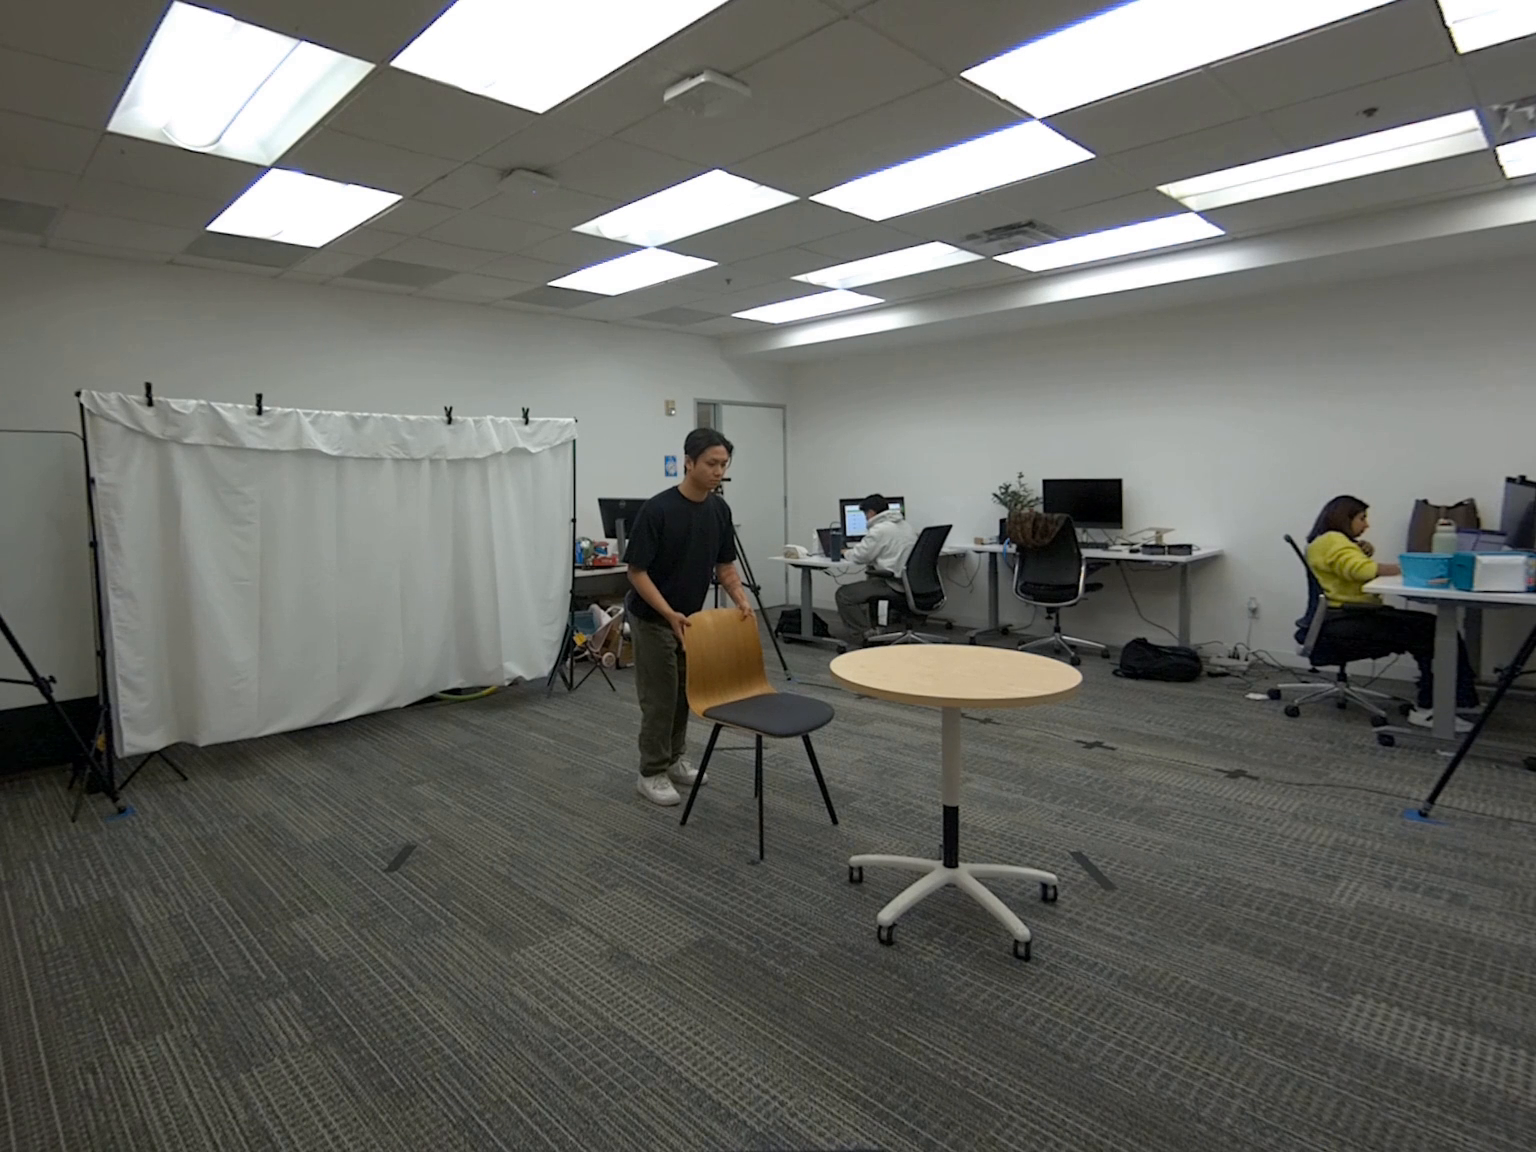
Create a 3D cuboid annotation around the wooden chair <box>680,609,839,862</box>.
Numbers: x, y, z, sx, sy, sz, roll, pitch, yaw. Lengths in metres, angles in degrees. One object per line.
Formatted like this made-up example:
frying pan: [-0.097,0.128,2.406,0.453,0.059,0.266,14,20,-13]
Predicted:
wooden chair: [-0.033,0.580,3.400,0.538,0.877,0.465,-2,1,44]
